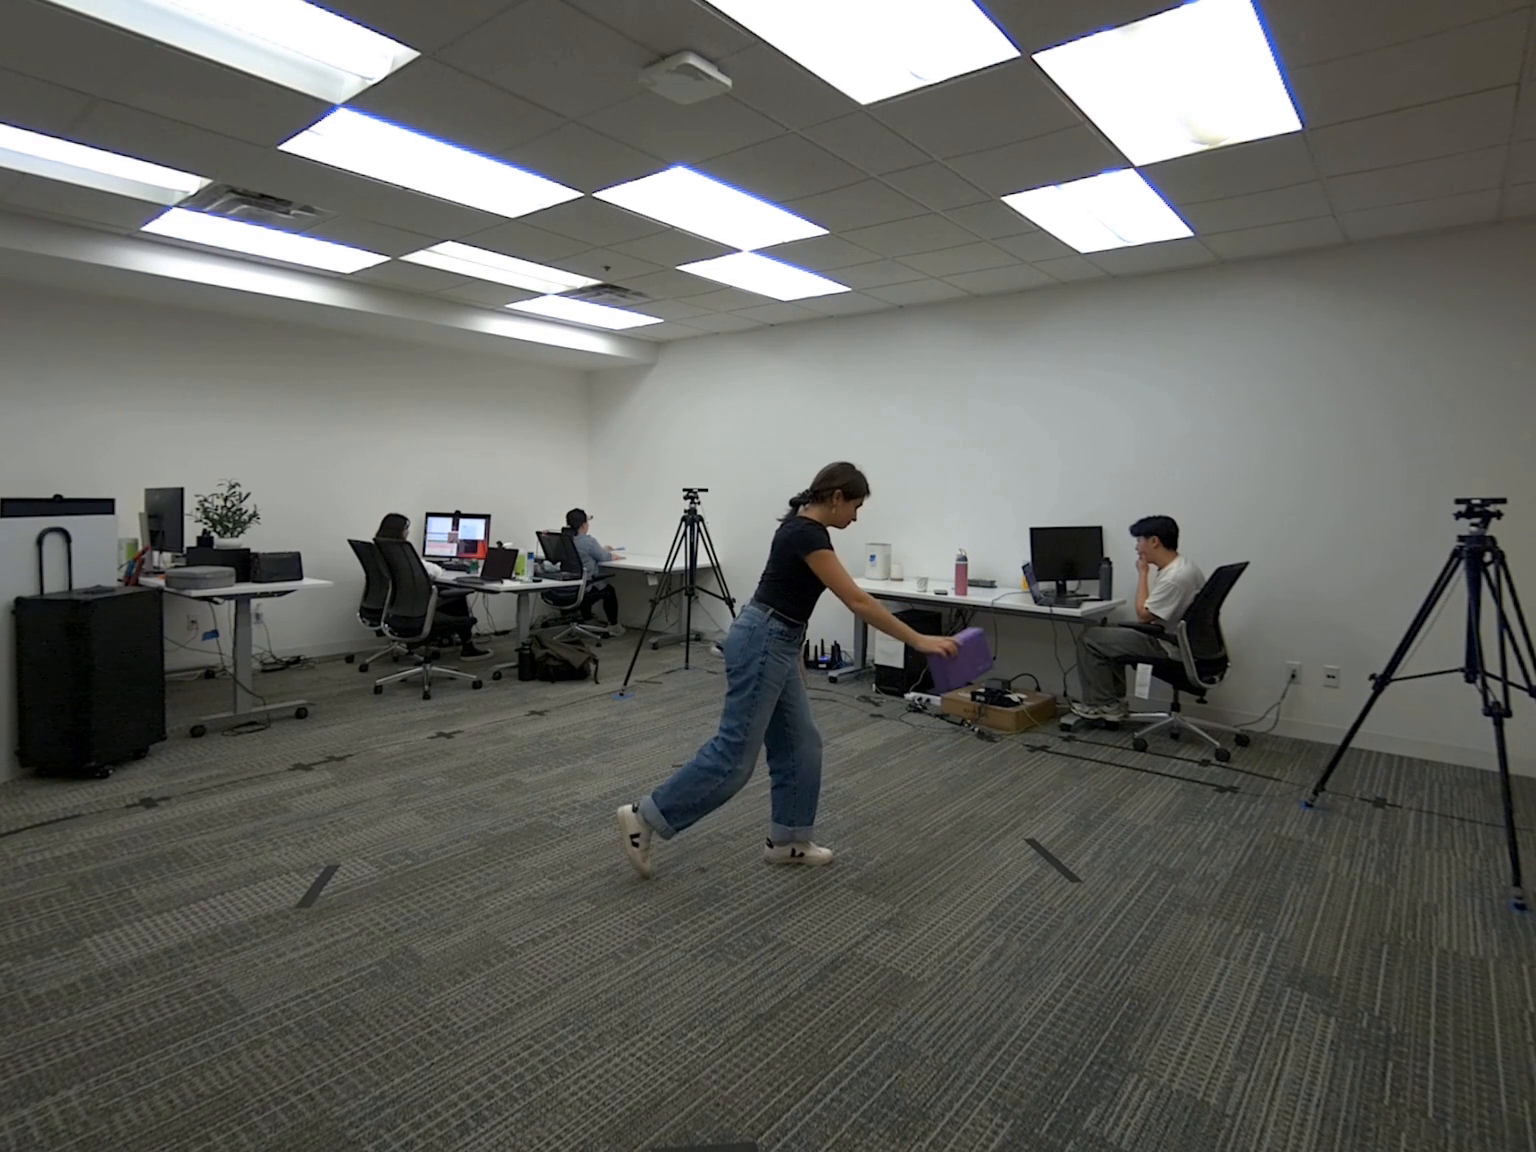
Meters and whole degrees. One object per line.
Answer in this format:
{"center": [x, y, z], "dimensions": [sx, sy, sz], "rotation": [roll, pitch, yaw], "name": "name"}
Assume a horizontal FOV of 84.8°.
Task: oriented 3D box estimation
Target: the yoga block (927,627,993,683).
{"center": [0.697, 0.226, 2.972], "dimensions": [0.227, 0.148, 0.078], "rotation": [-26, 7, -22], "name": "yoga block"}
